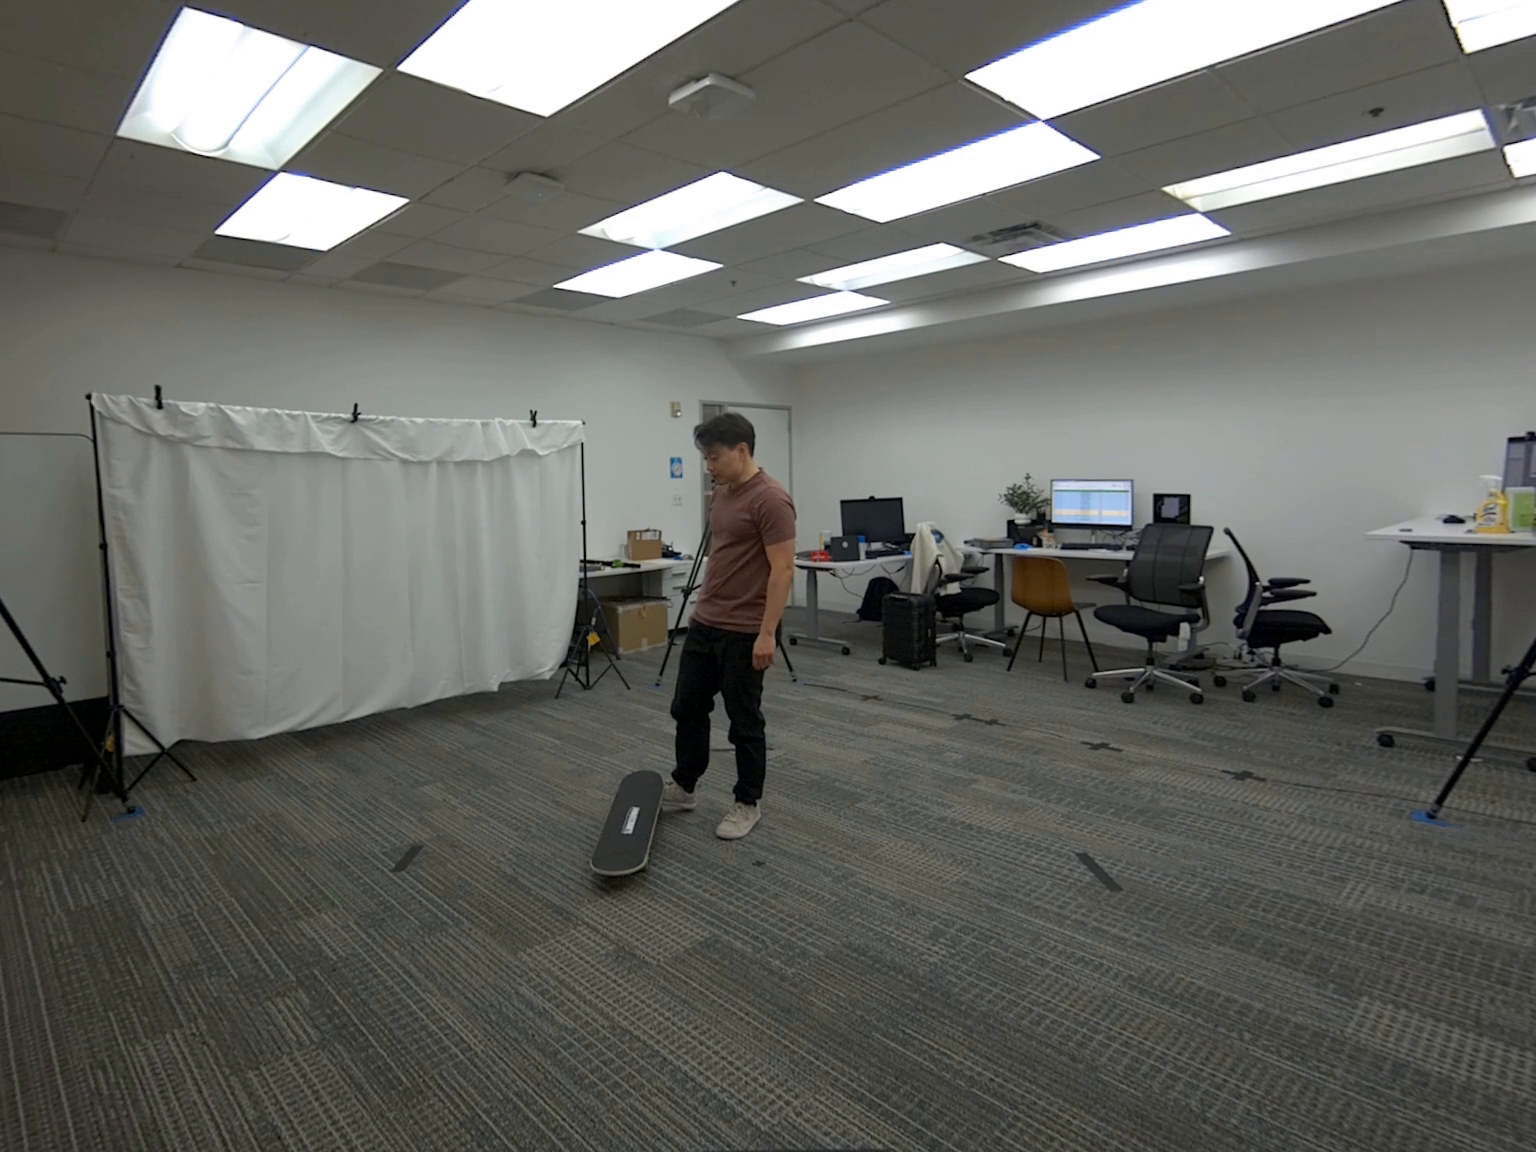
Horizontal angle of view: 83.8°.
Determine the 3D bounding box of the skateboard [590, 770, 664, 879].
[{"bbox_3d":[-0.524,0.966,3.262,0.193,0.109,0.792,-1,11,-1],"label":"skateboard"}]
